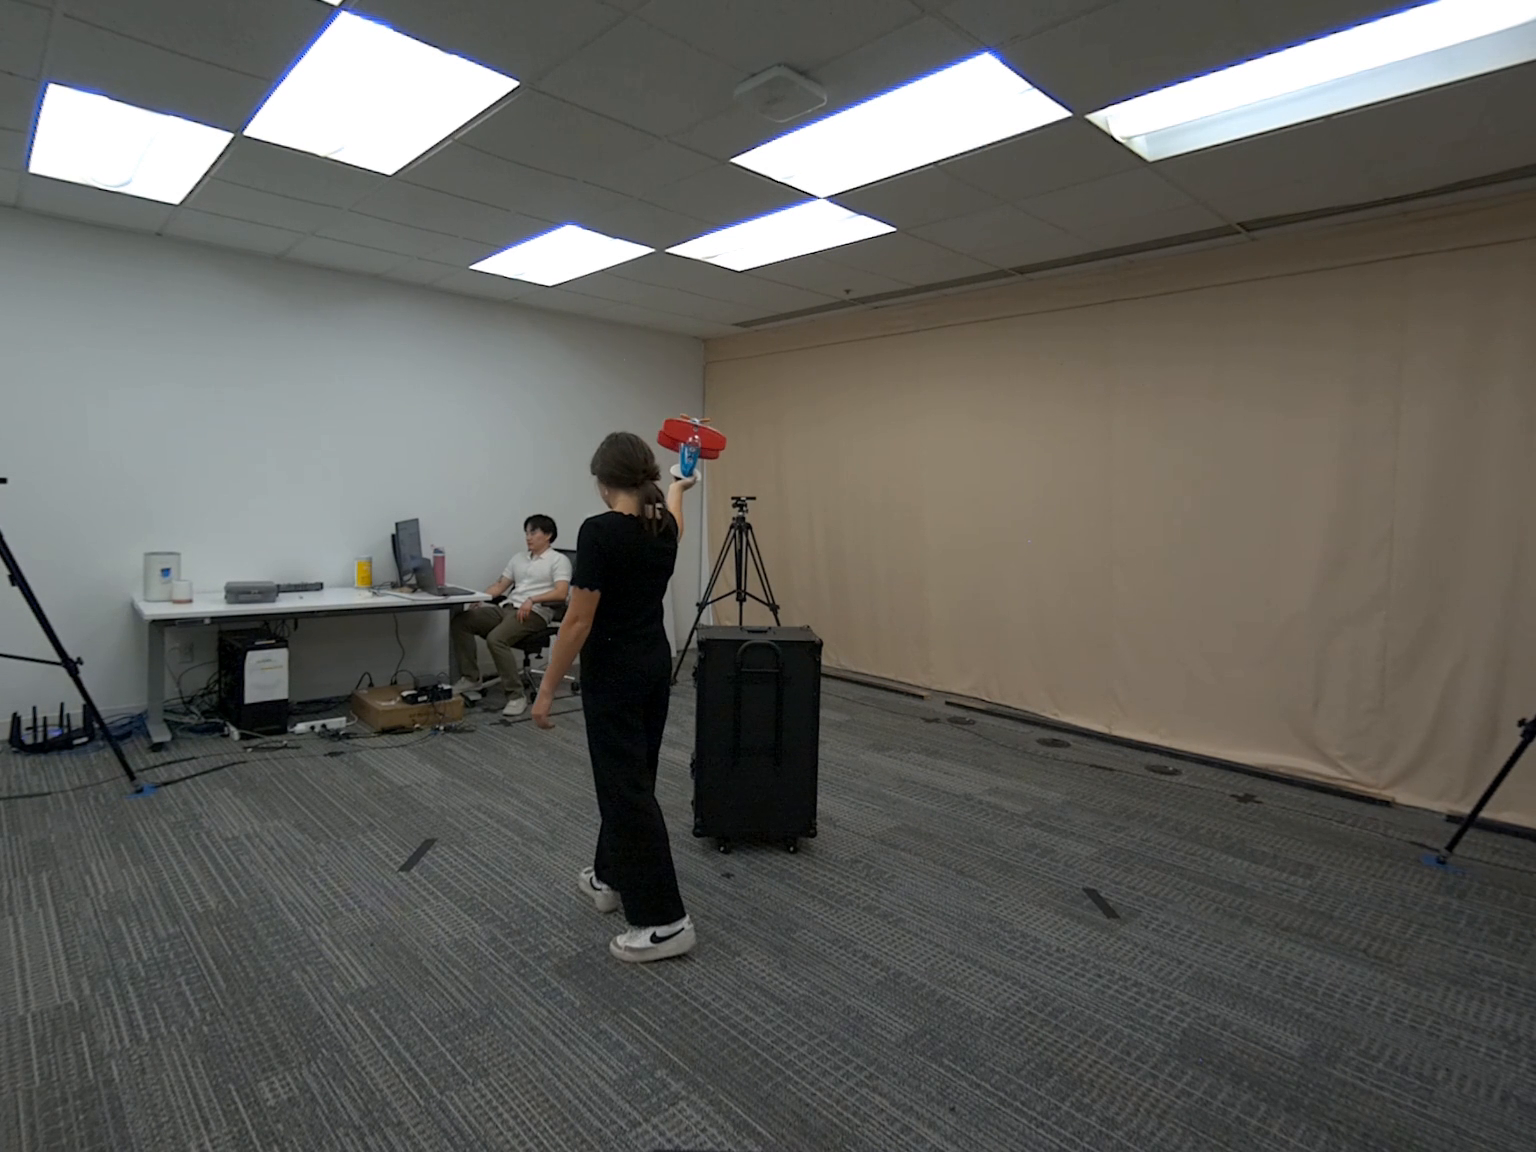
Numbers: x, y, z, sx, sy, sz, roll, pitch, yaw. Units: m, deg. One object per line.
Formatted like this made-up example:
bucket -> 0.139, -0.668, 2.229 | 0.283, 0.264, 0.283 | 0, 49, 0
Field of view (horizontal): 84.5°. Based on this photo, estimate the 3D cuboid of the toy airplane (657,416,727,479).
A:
toy airplane -> -0.298, -0.484, 3.239 | 0.247, 0.265, 0.155 | -11, -29, -31
